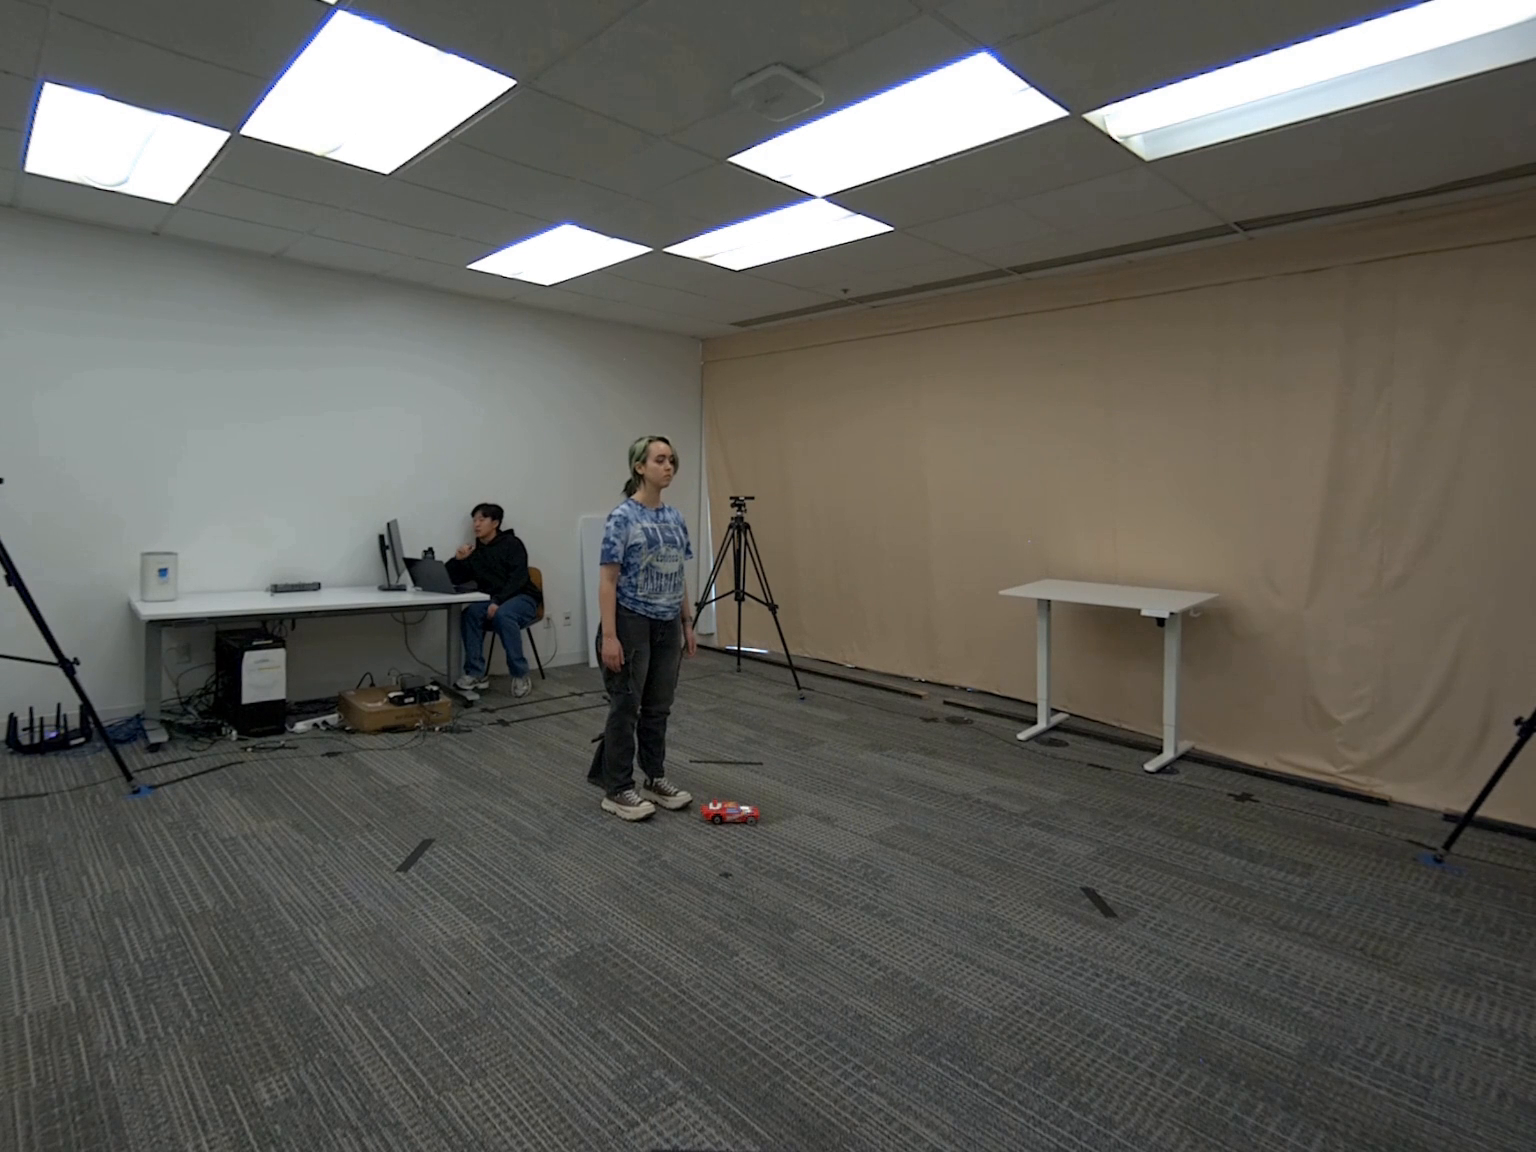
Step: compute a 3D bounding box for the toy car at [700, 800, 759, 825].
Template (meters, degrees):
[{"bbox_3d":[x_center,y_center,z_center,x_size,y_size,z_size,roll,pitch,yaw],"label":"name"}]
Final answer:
[{"bbox_3d":[-0.178,1.026,3.636,0.254,0.083,0.131,13,5,-4],"label":"toy car"}]
